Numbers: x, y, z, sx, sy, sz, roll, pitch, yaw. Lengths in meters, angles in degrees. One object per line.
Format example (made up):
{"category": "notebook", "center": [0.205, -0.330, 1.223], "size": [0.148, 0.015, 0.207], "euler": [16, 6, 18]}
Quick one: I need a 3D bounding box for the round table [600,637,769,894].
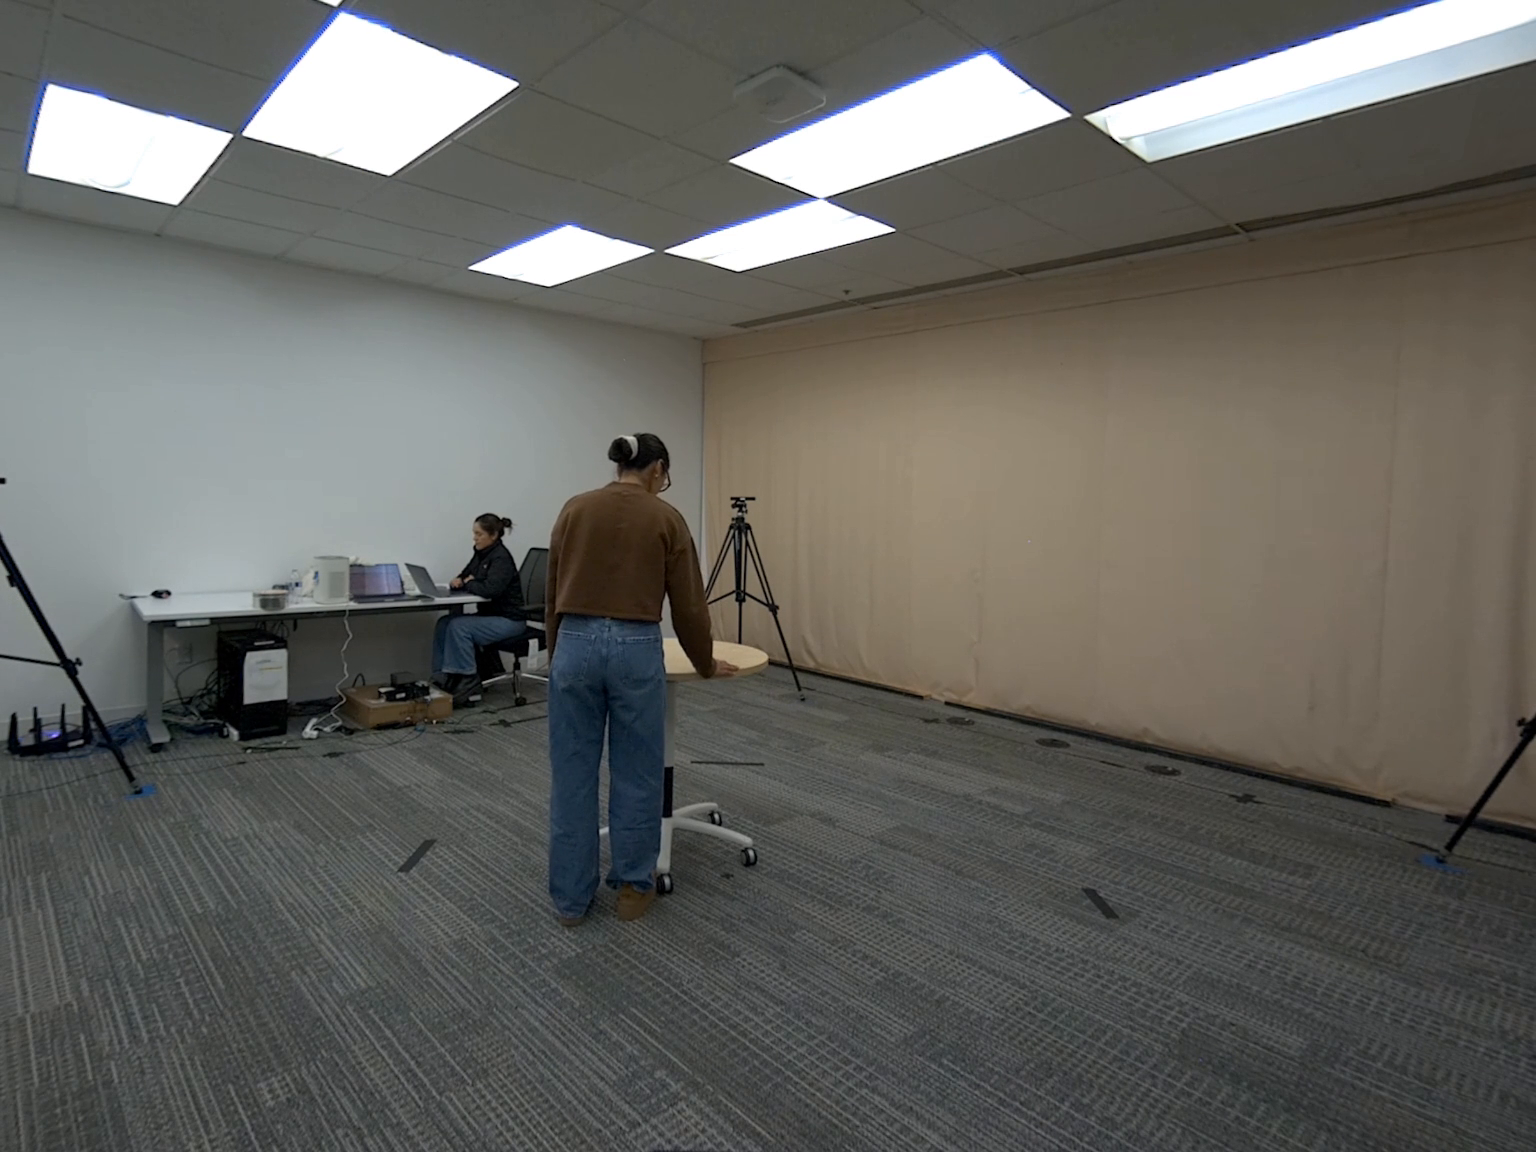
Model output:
{"category": "round table", "center": [-0.398, 0.697, 3.294], "size": [0.763, 0.792, 0.766], "euler": [2, 4, -1]}
